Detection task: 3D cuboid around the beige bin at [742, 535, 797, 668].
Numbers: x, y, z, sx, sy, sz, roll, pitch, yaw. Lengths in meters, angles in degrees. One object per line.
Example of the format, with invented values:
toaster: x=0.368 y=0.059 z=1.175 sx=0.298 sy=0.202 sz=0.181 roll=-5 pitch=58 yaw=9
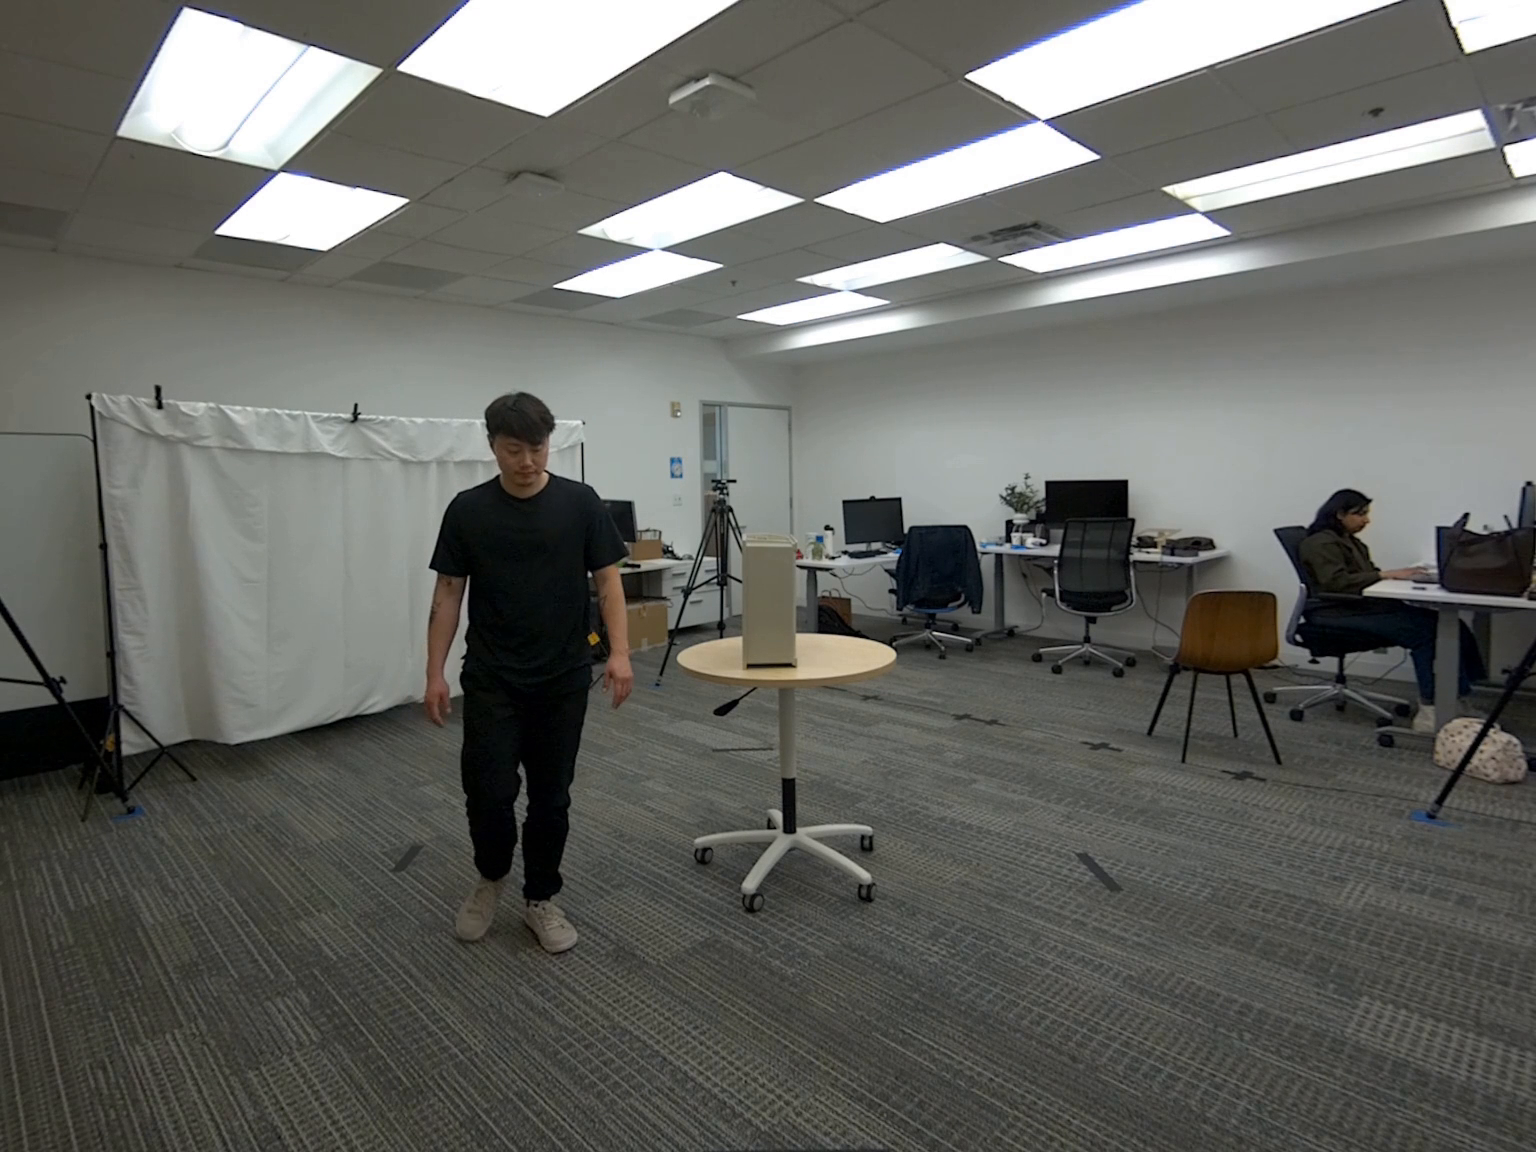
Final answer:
beige bin: x=-0.001 y=0.072 z=2.944 sx=0.189 sy=0.421 sz=0.378 roll=1 pitch=5 yaw=-1
